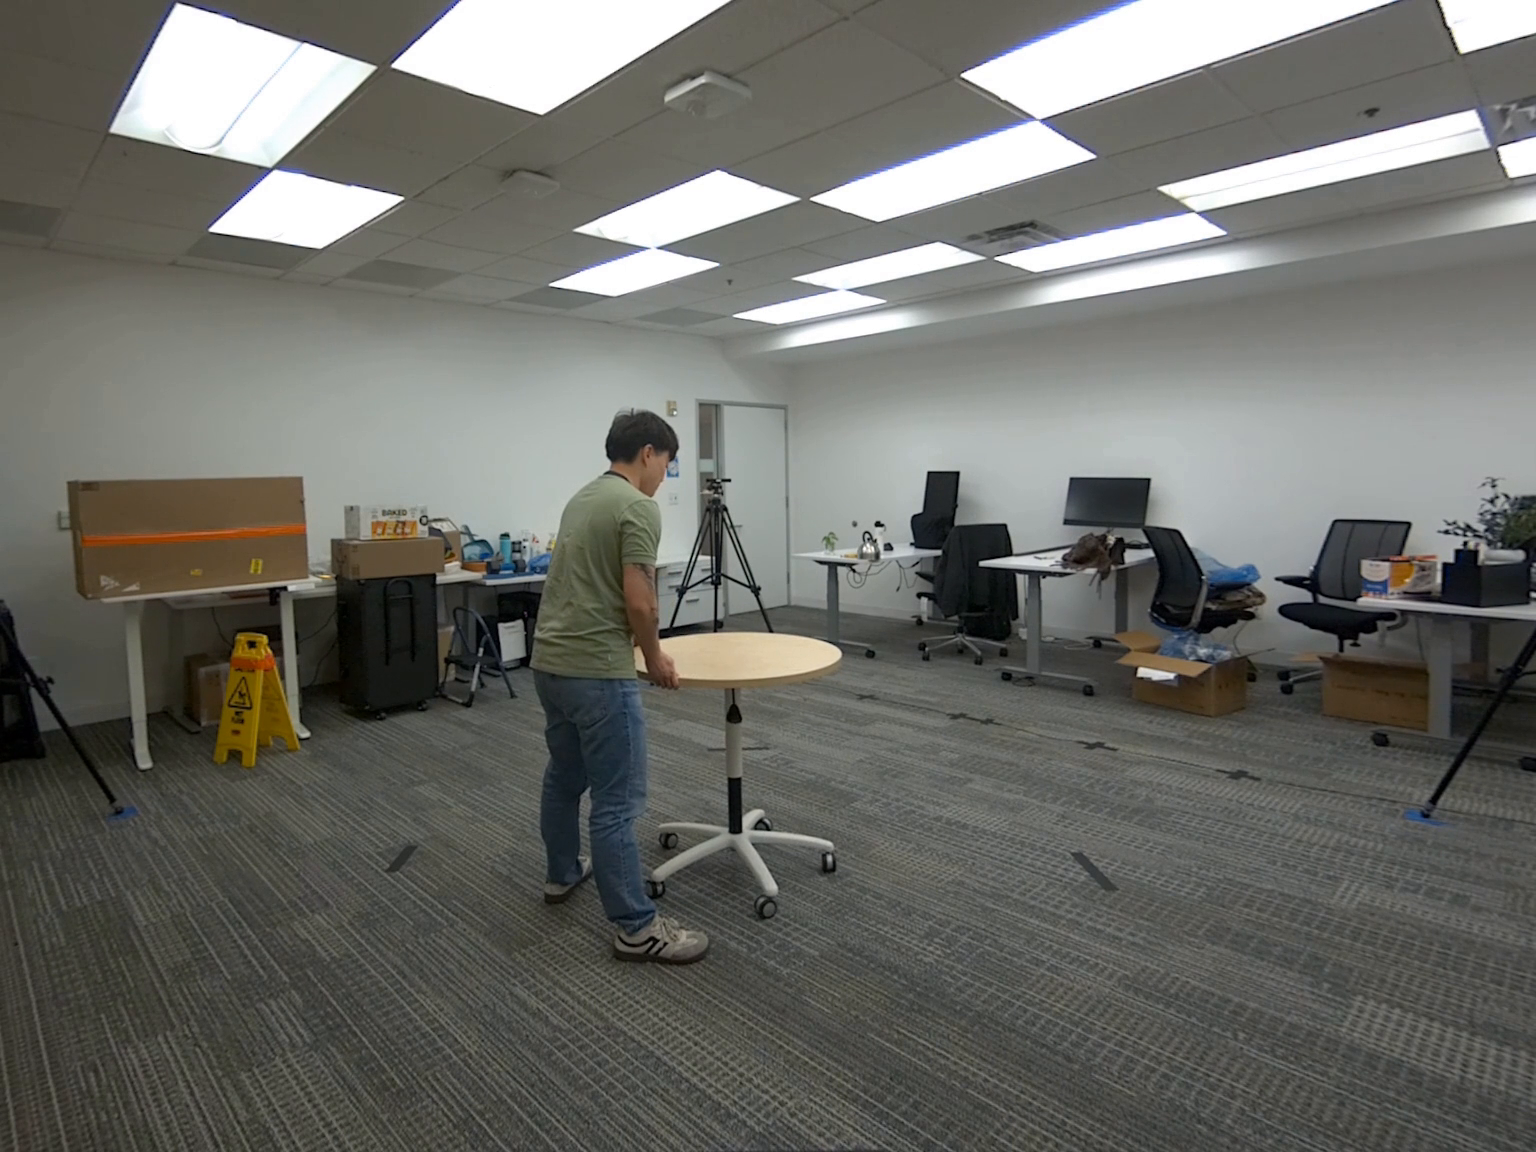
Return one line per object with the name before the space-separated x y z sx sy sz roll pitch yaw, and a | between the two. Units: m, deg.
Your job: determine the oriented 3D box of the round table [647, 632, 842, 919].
round table | -0.118 0.663 3.024 0.763 0.791 0.768 -2 5 -2
